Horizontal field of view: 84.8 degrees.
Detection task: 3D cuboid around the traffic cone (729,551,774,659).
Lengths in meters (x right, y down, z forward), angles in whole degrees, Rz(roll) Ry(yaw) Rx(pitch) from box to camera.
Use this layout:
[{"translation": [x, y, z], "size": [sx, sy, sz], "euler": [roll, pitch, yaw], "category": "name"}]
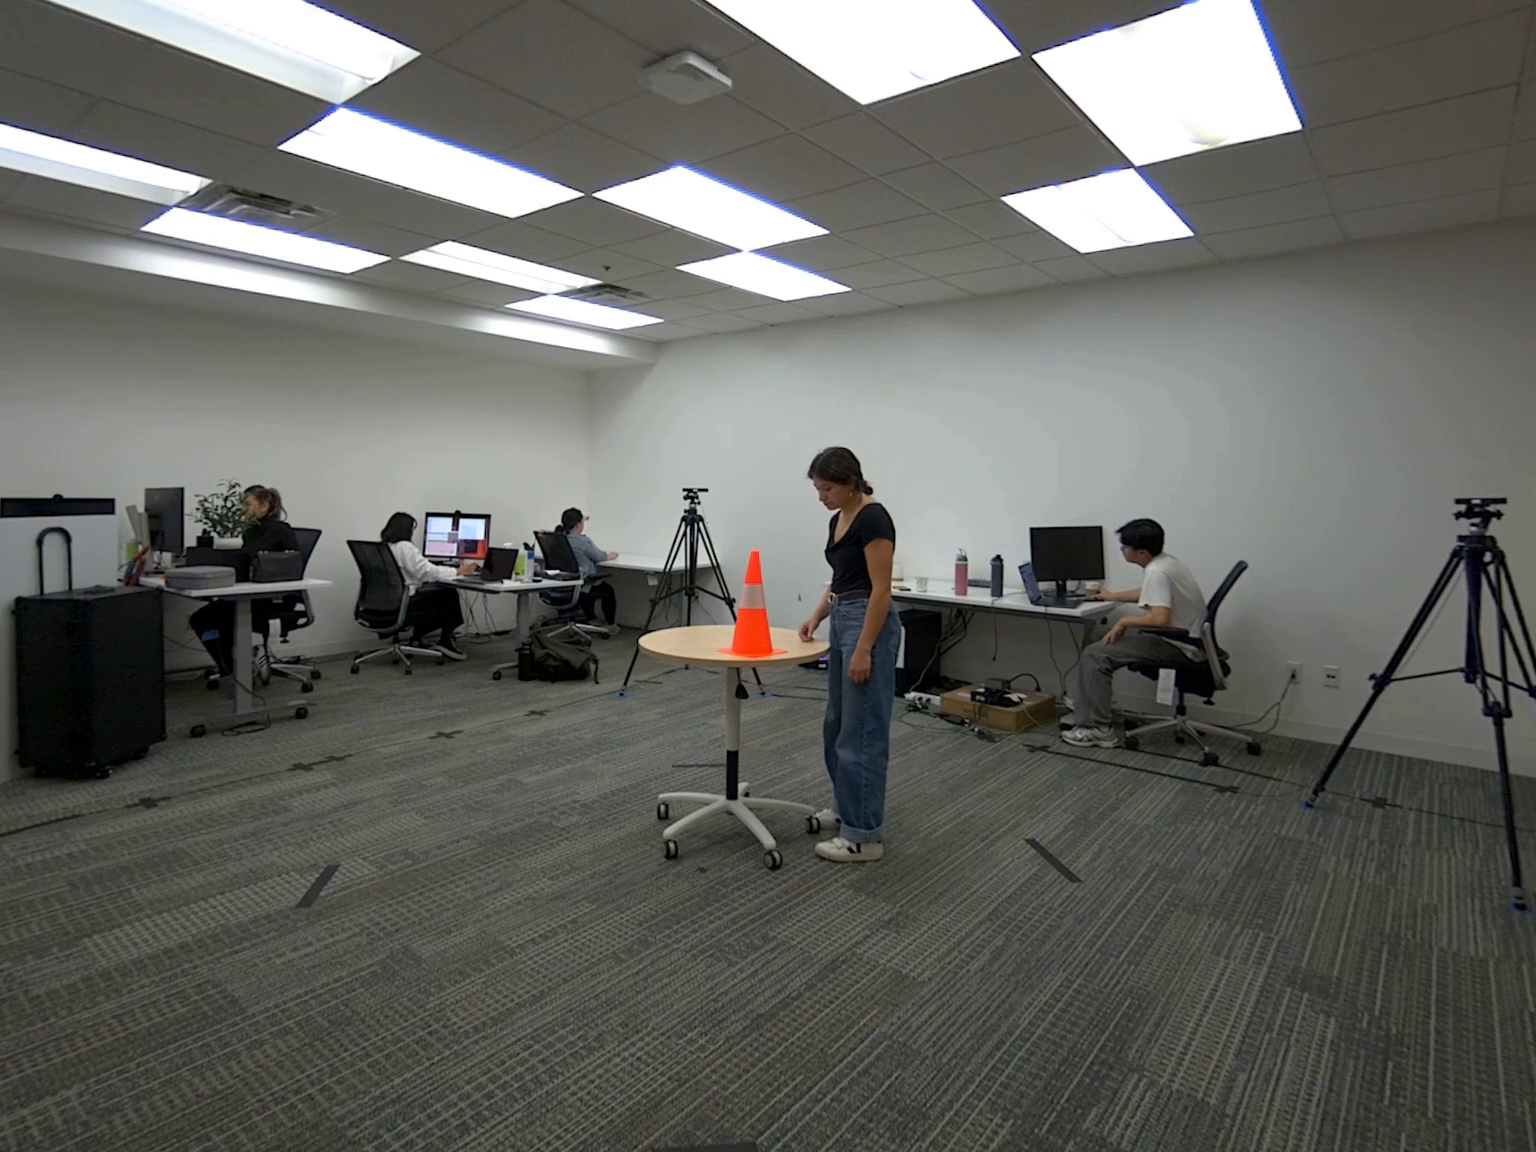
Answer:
[{"translation": [-0.054, 0.091, 3.199], "size": [0.212, 0.382, 0.197], "euler": [4, 6, 41], "category": "traffic cone"}]
